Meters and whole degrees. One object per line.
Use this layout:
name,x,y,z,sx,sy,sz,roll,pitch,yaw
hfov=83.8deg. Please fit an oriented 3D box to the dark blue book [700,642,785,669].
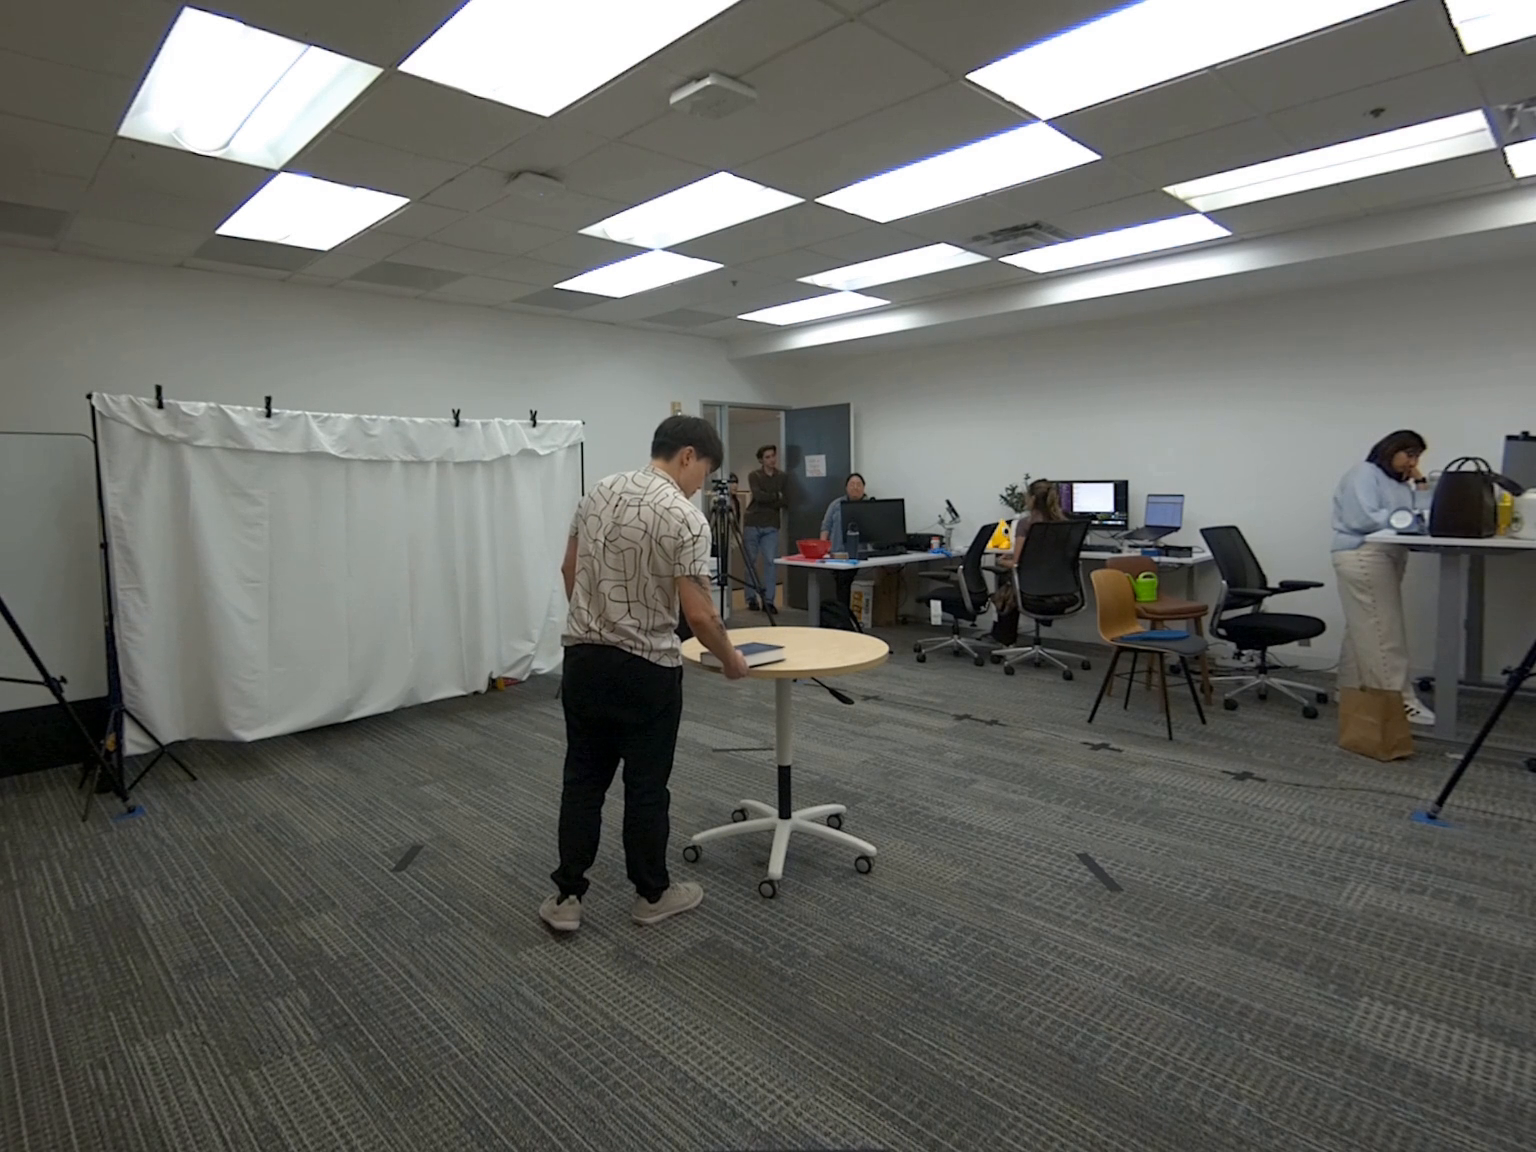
dark blue book,-0.074,0.265,2.870,0.168,0.045,0.239,1,6,45
